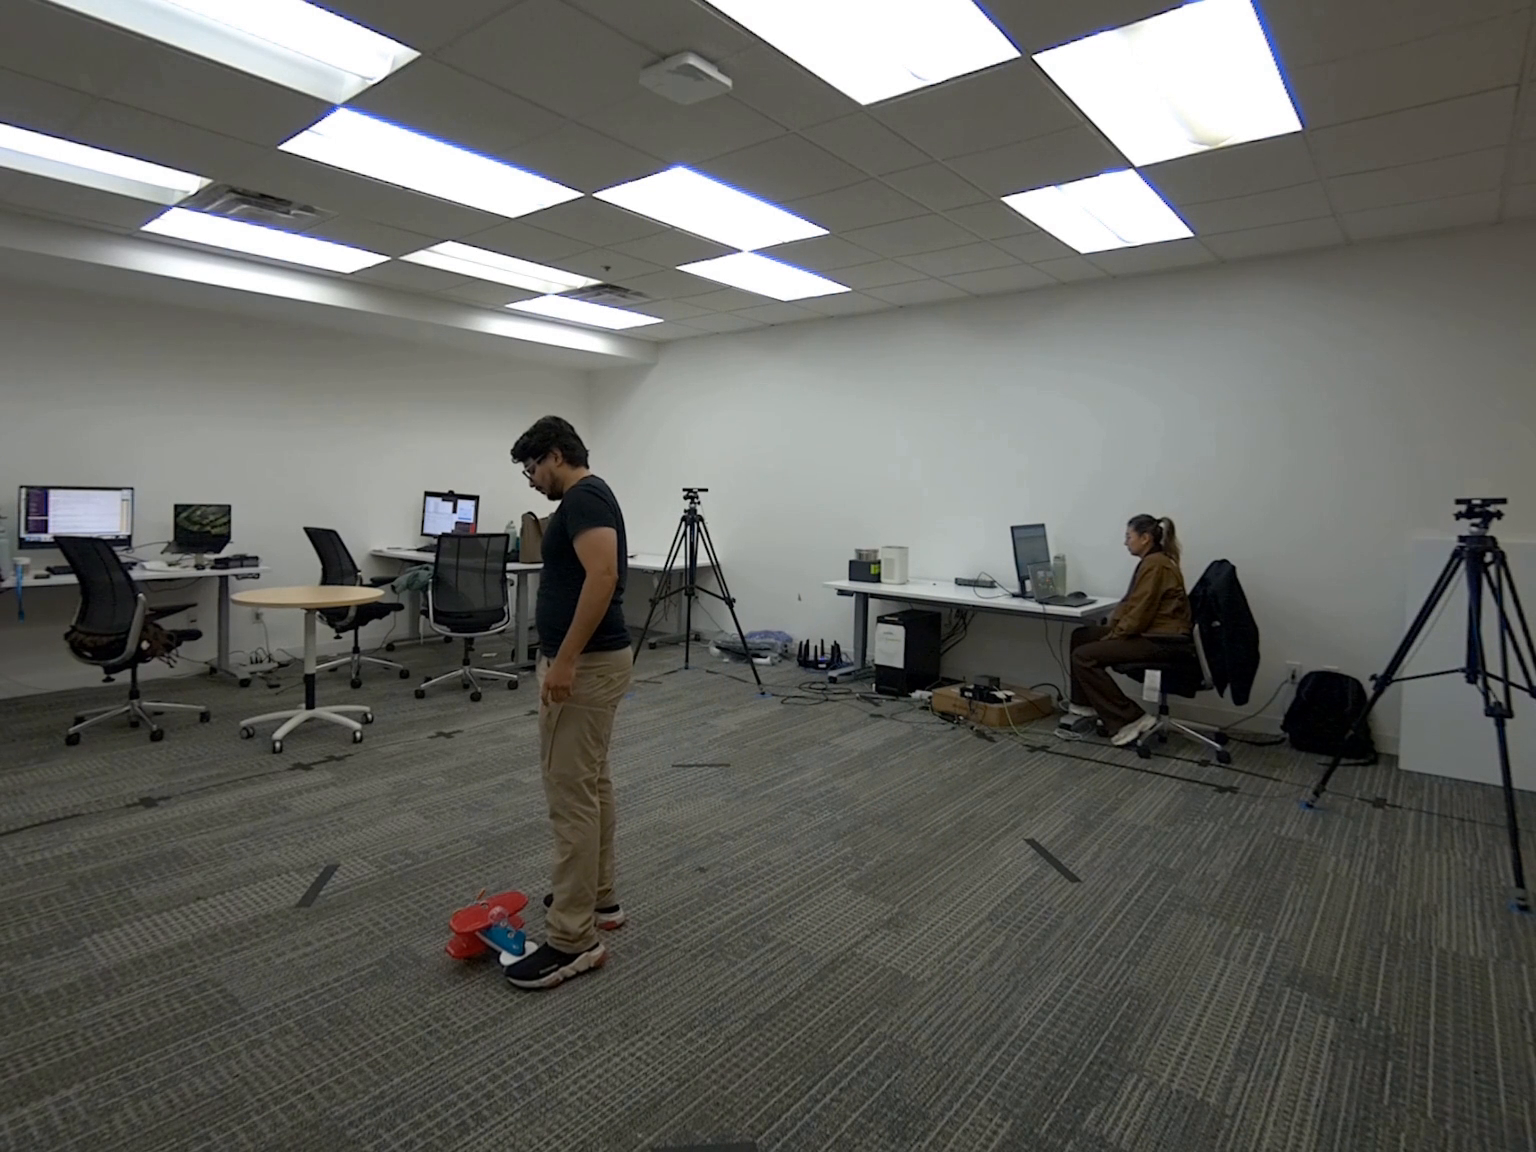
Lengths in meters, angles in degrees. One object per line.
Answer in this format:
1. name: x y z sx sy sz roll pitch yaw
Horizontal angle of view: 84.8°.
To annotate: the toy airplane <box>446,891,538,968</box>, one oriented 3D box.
1. toy airplane: -0.801 1.045 2.505 0.261 0.156 0.250 0 5 7
